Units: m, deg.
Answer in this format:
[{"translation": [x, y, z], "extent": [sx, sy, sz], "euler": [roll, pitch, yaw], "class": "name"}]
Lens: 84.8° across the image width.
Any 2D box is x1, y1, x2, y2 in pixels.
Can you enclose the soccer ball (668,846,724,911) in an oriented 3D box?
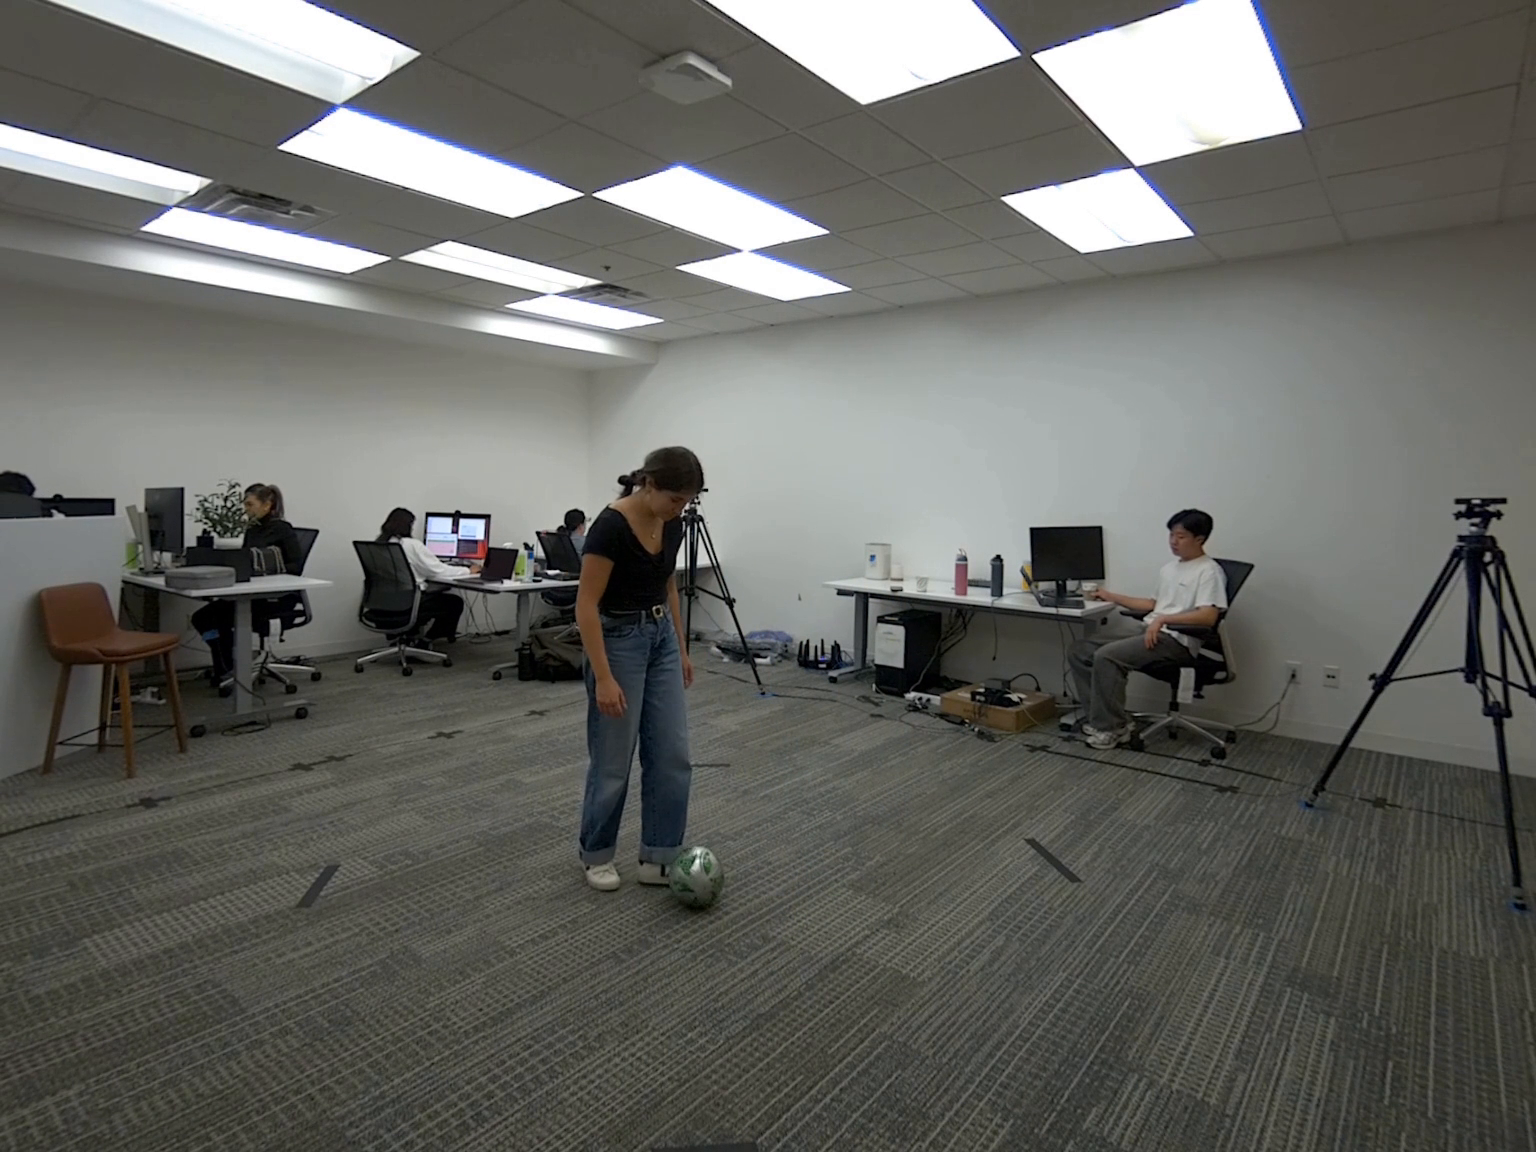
[{"translation": [-0.238, 0.998, 2.840], "extent": [0.187, 0.187, 0.188], "euler": [1, 4, -2], "class": "soccer ball"}]
